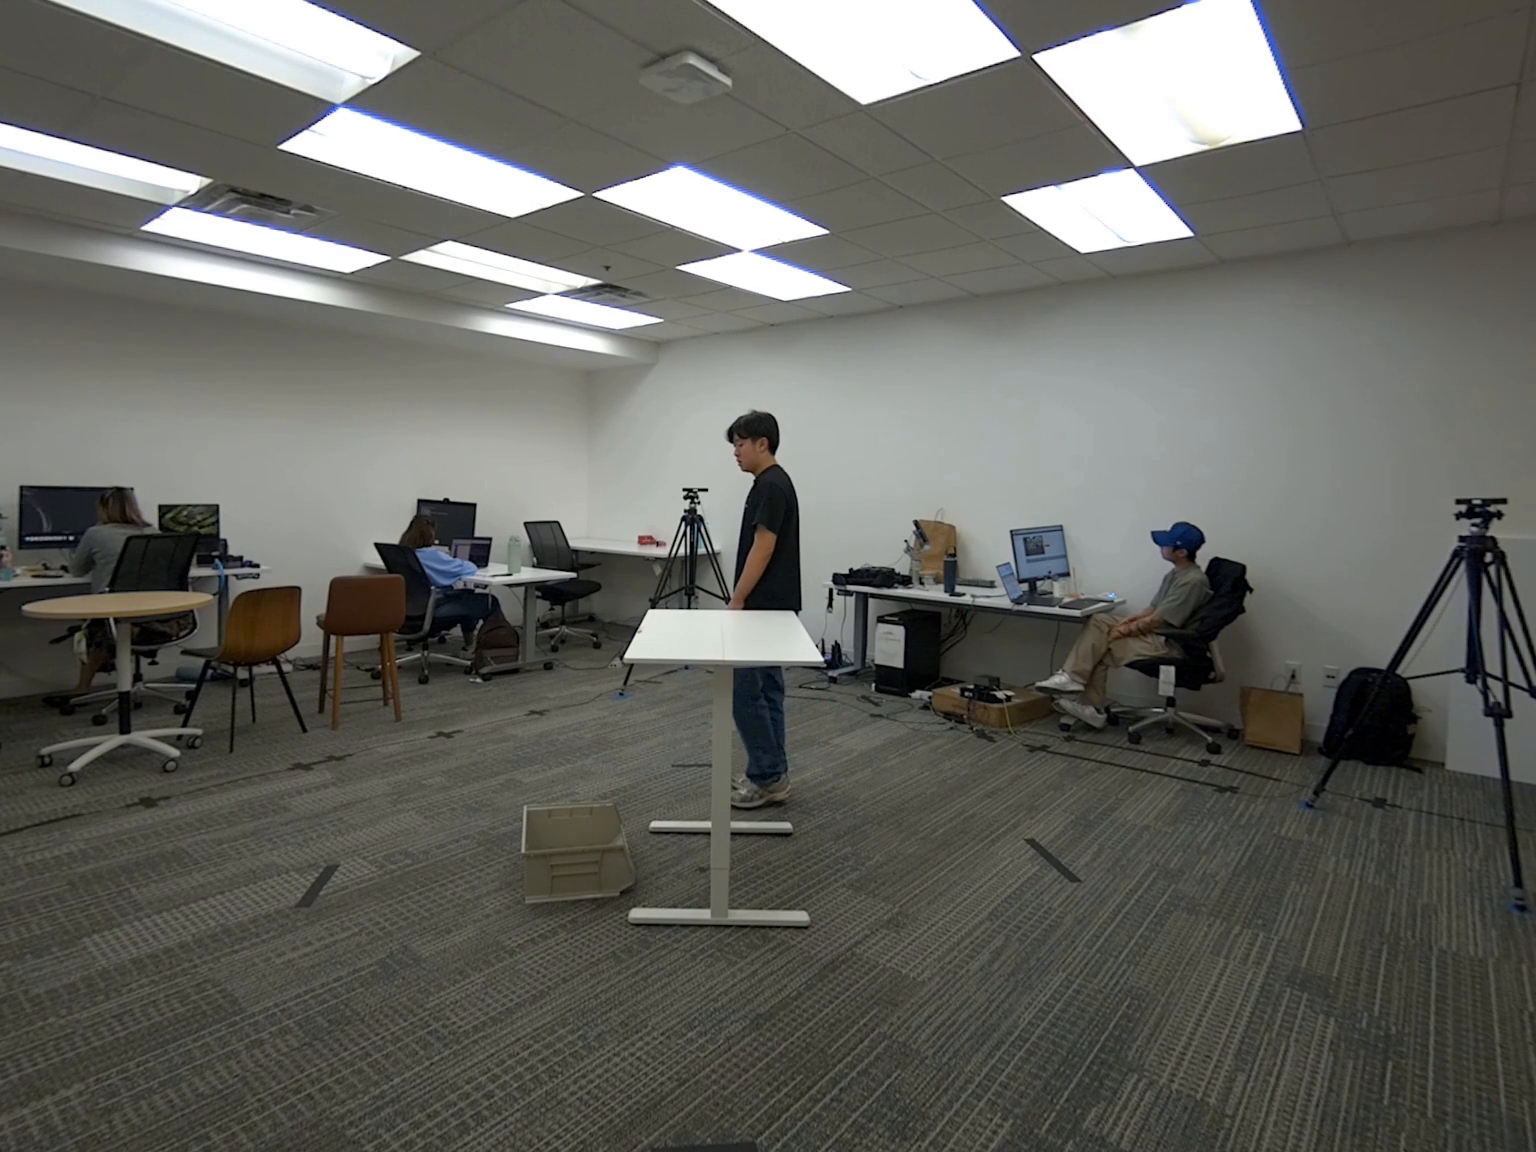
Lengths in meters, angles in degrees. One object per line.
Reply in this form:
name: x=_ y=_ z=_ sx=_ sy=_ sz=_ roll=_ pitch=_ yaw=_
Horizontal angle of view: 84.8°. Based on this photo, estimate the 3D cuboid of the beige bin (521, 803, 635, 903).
beige bin: x=-0.700 y=0.978 z=3.057 sx=0.372 sy=0.188 sz=0.430 roll=-1 pitch=6 yaw=-14
